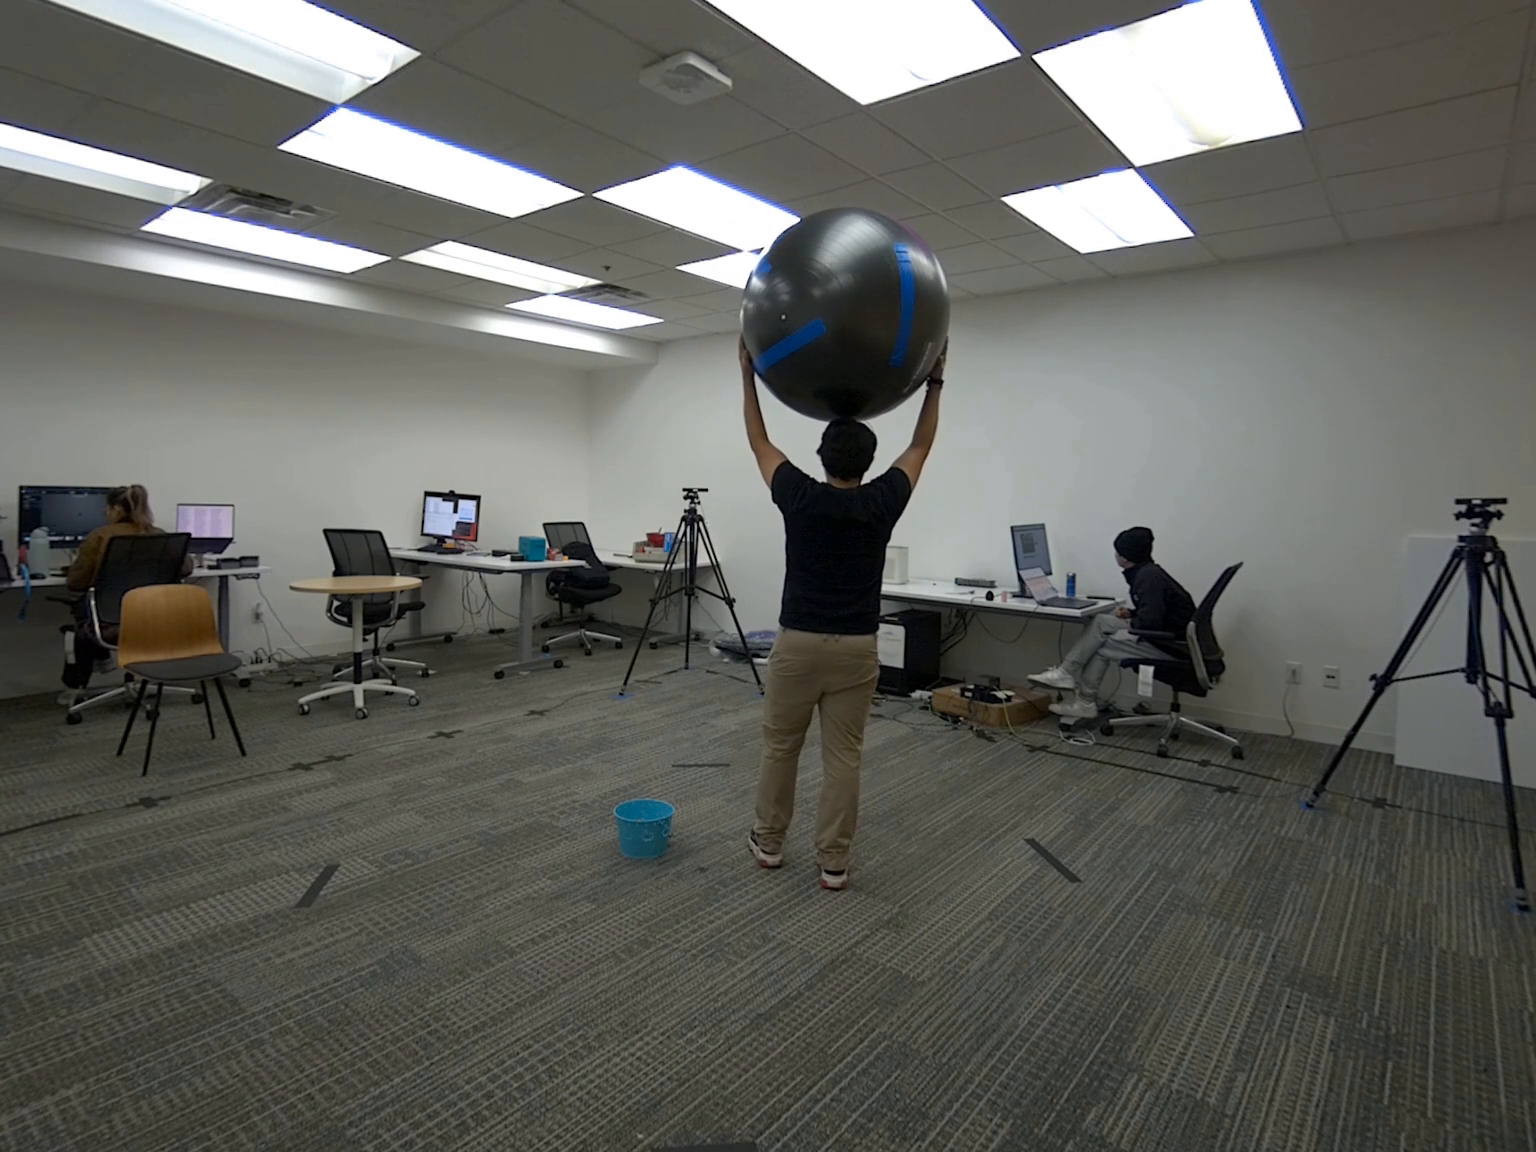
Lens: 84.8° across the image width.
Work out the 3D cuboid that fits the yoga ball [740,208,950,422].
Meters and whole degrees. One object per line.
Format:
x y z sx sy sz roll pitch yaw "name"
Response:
0.263 -0.943 3.113 0.757 0.756 0.761 1 4 -2 "yoga ball"
